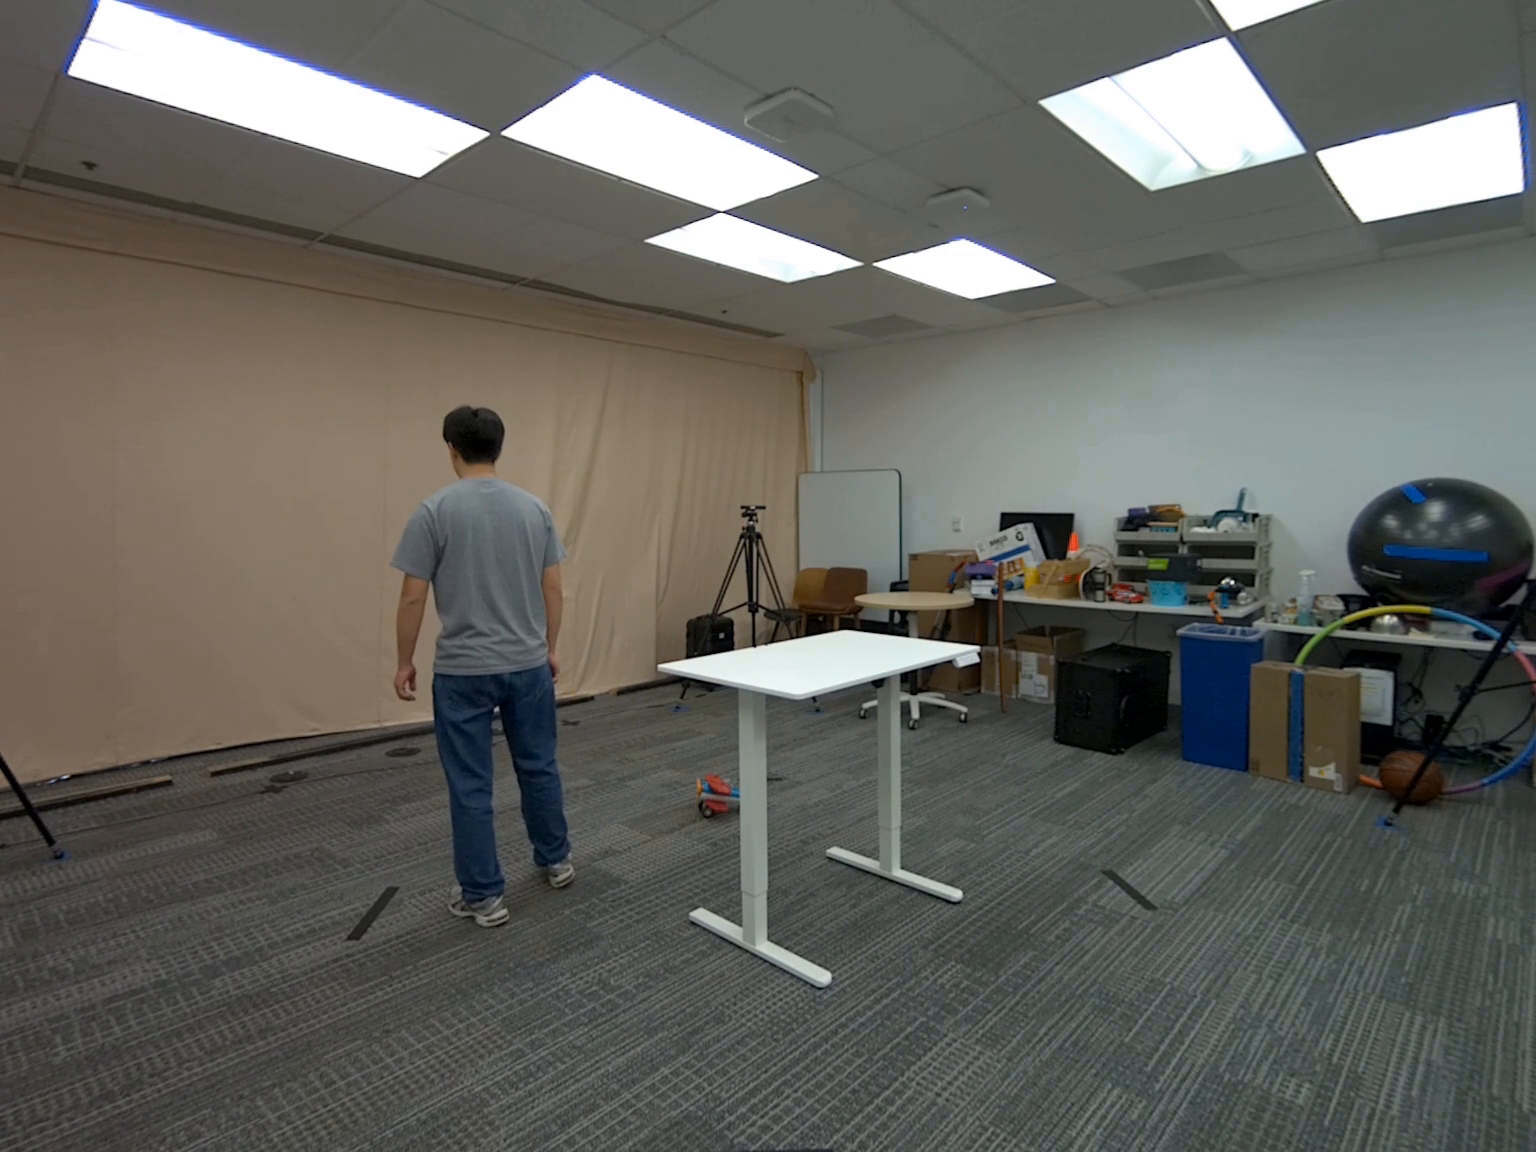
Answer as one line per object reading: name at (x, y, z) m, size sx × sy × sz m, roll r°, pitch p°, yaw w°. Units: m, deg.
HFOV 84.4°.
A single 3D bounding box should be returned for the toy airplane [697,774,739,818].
toy airplane at (-0.208, 1.002, 3.847) m, size 0.251 × 0.156 × 0.259 m, roll -5°, pitch 6°, yaw -44°
